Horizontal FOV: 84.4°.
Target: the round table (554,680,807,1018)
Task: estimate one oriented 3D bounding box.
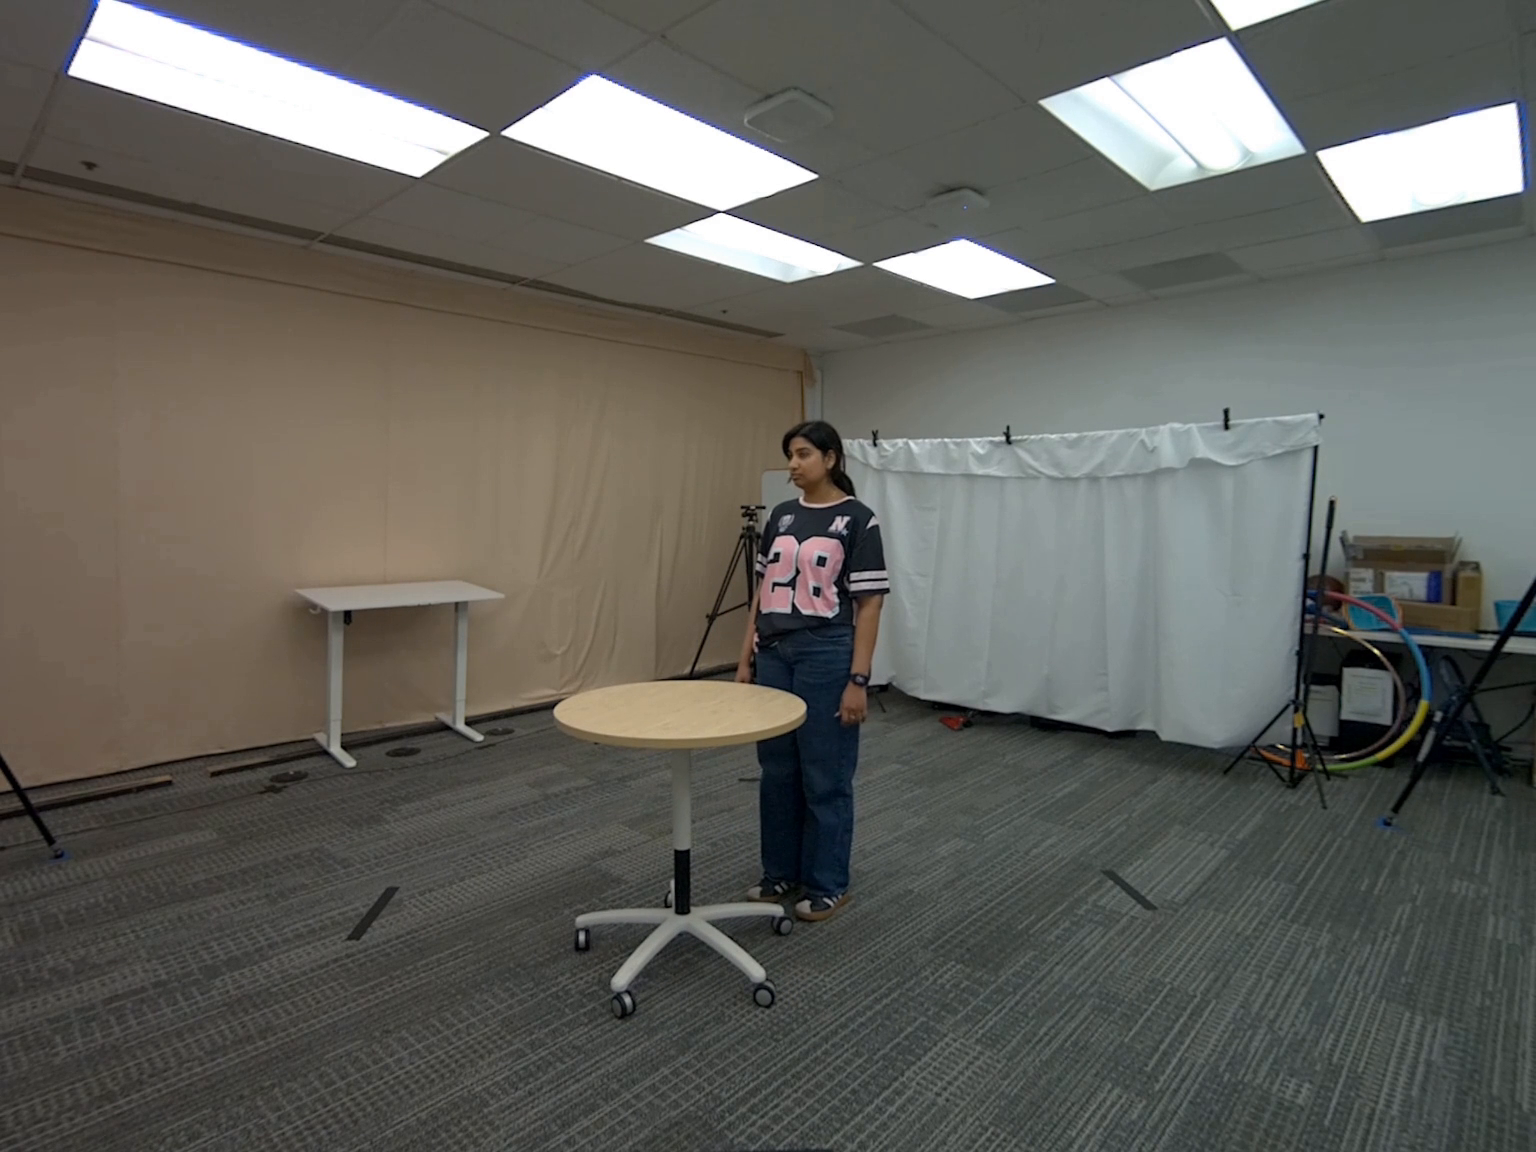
[{"bbox_3d":[-0.251,0.786,2.582,0.784,0.785,0.788,-1,4,-2],"label":"round table"}]
